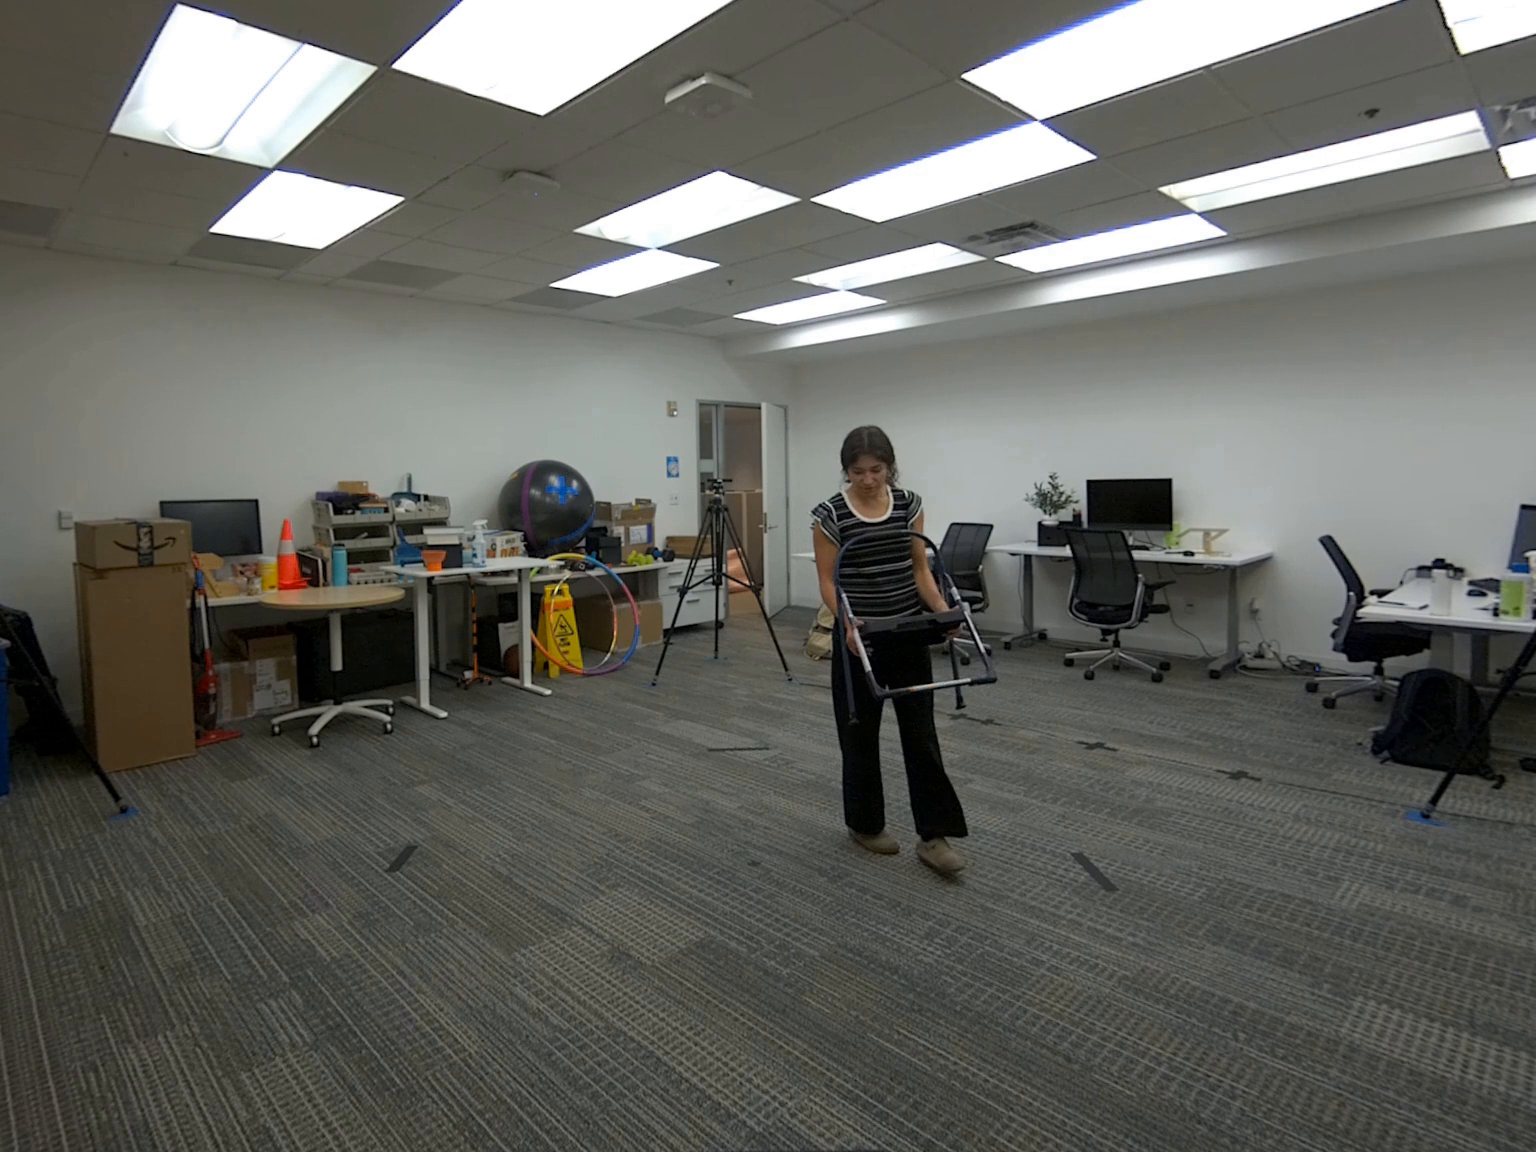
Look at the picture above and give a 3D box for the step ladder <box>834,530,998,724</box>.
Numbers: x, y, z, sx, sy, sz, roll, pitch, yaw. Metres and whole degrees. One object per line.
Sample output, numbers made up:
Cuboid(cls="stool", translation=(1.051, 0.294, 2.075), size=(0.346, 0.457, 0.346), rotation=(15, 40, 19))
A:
Cuboid(cls="step ladder", translation=(0.453, 0.155, 2.969), size=(0.426, 0.621, 0.344), rotation=(-6, -24, -12))
